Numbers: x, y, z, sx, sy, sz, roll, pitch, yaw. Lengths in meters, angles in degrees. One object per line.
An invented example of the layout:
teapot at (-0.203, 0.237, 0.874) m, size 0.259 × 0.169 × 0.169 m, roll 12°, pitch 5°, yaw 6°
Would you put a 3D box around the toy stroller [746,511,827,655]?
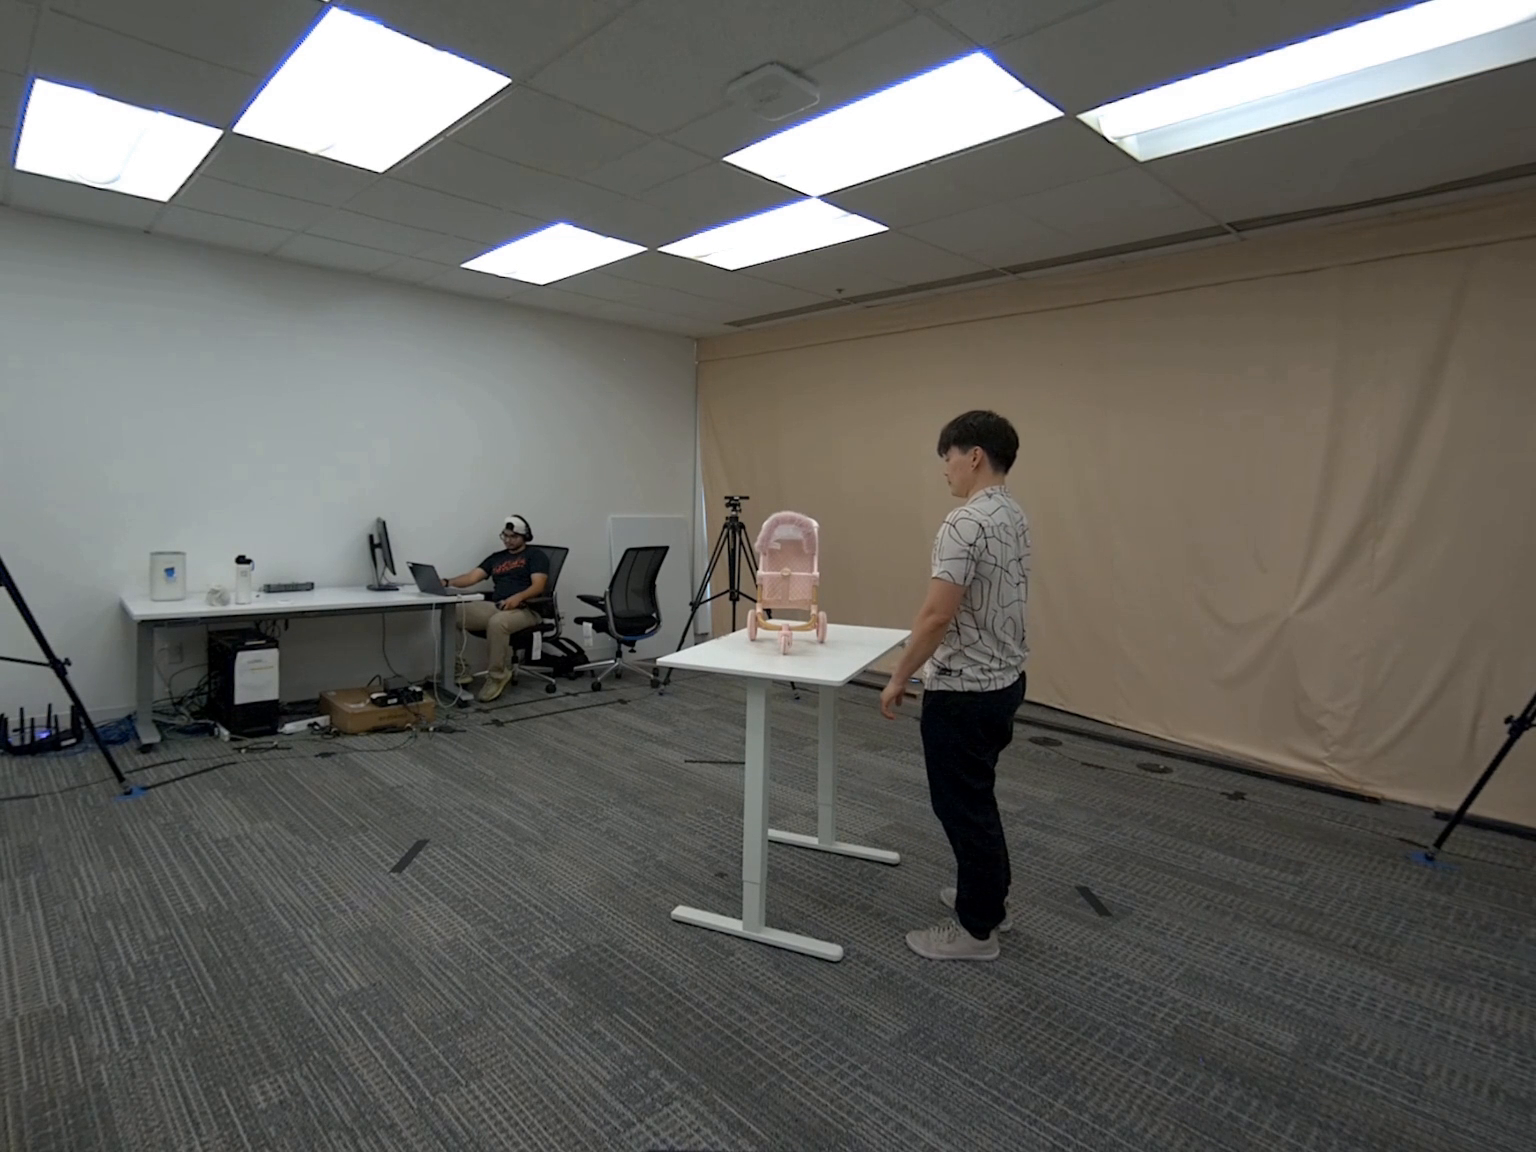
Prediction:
toy stroller at (0.060, 0.015, 2.934) m, size 0.283 × 0.540 × 0.337 m, roll 0°, pitch -12°, yaw 5°
